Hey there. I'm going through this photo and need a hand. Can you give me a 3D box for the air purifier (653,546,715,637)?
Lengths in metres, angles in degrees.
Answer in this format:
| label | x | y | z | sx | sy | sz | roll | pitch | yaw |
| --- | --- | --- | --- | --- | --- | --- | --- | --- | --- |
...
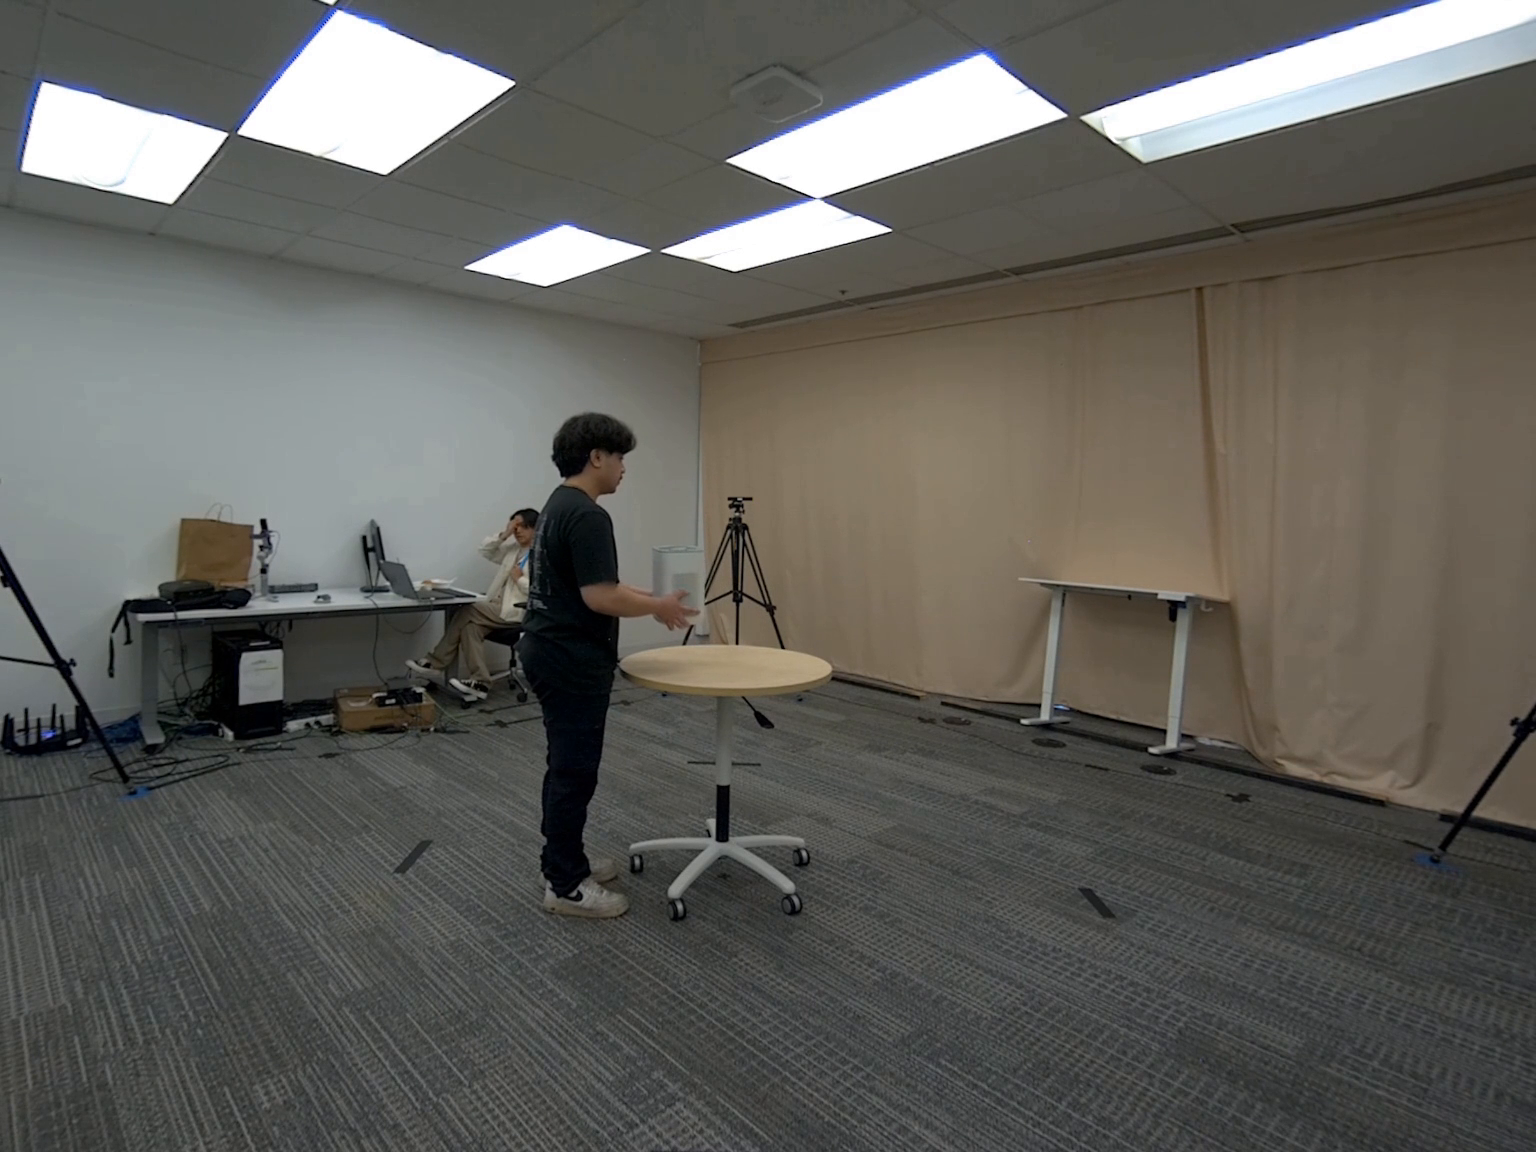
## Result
| label | x | y | z | sx | sy | sz | roll | pitch | yaw |
| --- | --- | --- | --- | --- | --- | --- | --- | --- | --- |
| air purifier | -0.326 | 0.032 | 2.982 | 0.169 | 0.264 | 0.174 | -2 | 7 | -19 |
